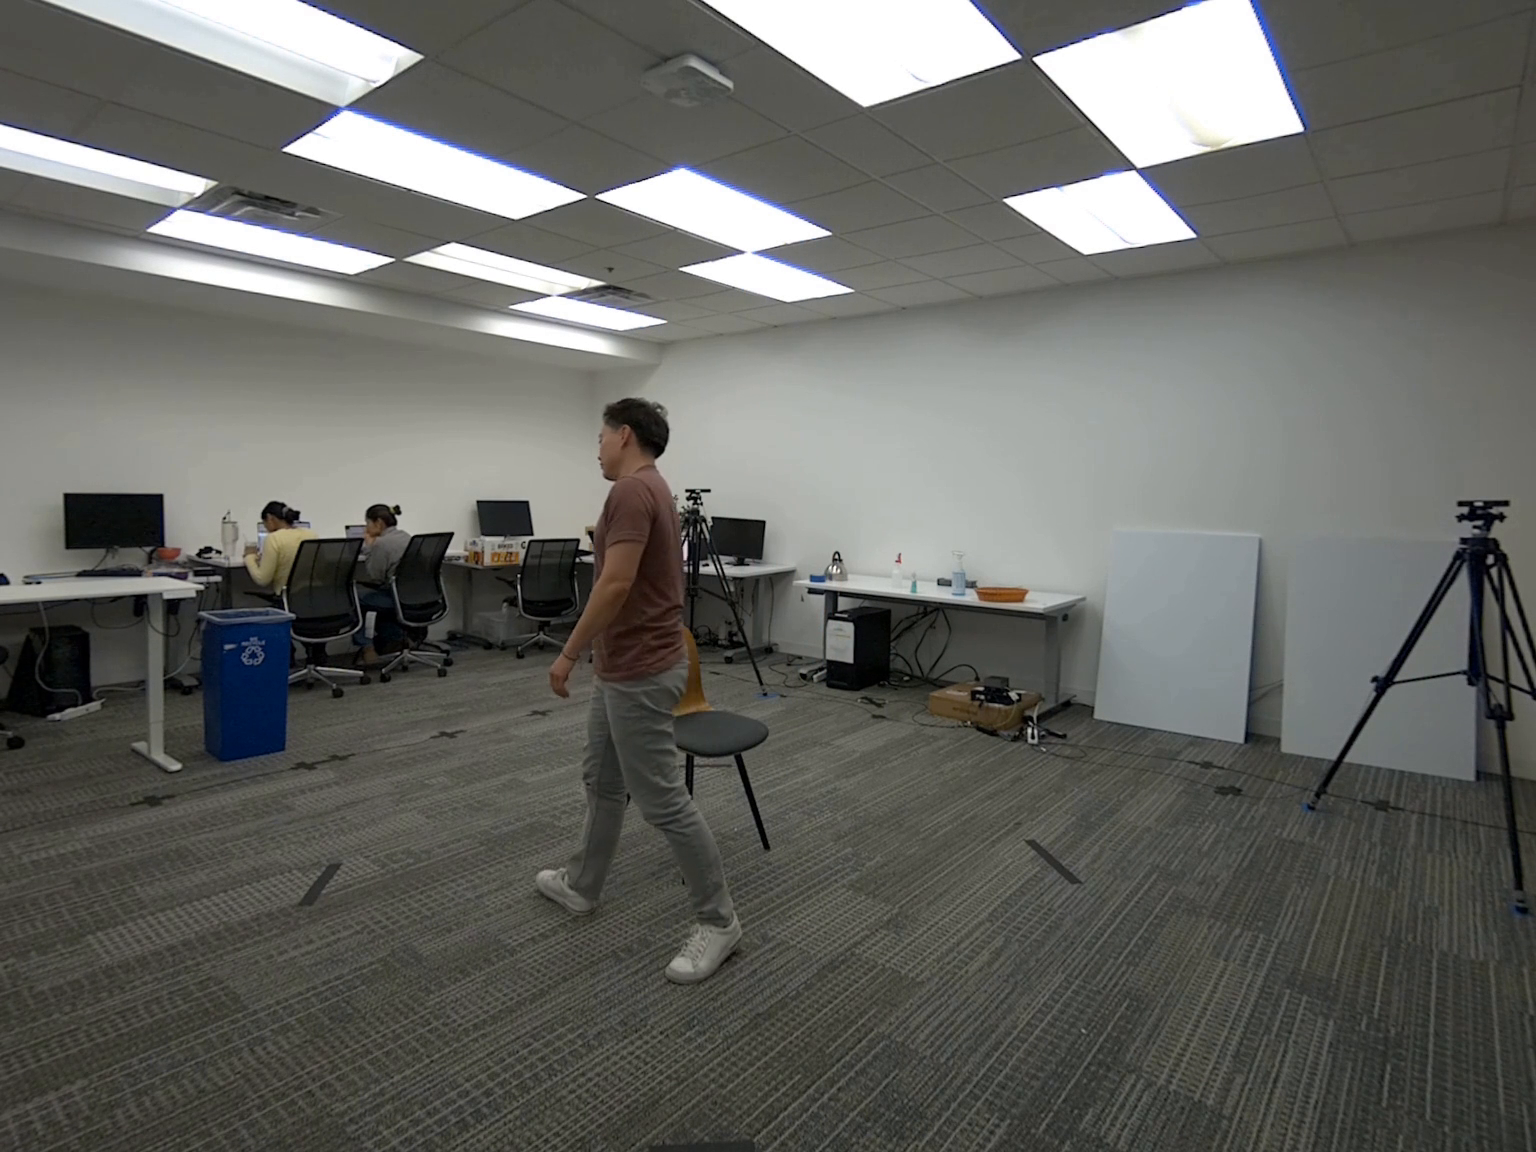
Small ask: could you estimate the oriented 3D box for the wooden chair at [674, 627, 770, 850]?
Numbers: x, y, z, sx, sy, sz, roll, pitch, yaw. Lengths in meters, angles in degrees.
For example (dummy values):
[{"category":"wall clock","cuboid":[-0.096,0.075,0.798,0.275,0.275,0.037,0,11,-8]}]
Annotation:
[{"category":"wooden chair","cuboid":[-0.301,0.628,3.272,0.539,0.878,0.463,-2,-1,43]}]
